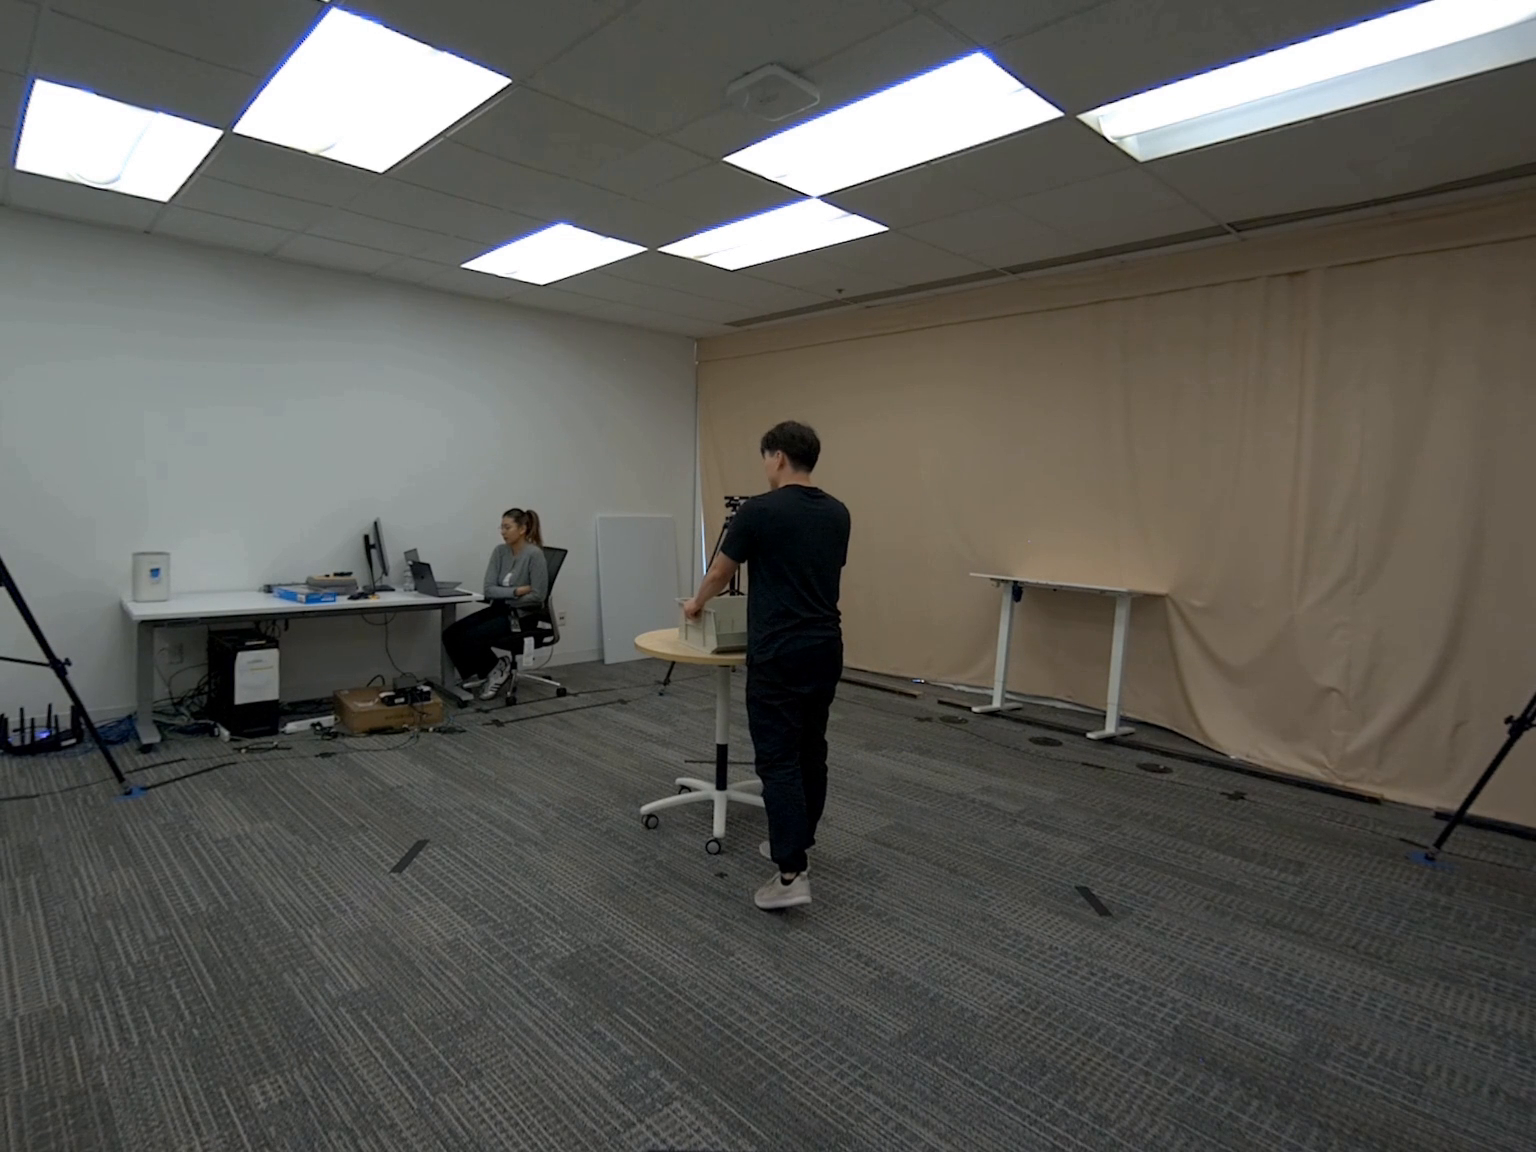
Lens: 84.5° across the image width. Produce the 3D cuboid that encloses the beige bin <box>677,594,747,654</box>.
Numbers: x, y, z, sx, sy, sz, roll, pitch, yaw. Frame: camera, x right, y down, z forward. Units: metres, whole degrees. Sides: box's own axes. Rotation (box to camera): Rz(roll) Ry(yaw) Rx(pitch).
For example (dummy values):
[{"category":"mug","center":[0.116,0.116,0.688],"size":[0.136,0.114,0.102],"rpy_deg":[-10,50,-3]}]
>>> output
[{"category":"beige bin","center":[-0.125,0.201,3.489],"size":[0.414,0.188,0.386],"rpy_deg":[-2,4,-30]}]
